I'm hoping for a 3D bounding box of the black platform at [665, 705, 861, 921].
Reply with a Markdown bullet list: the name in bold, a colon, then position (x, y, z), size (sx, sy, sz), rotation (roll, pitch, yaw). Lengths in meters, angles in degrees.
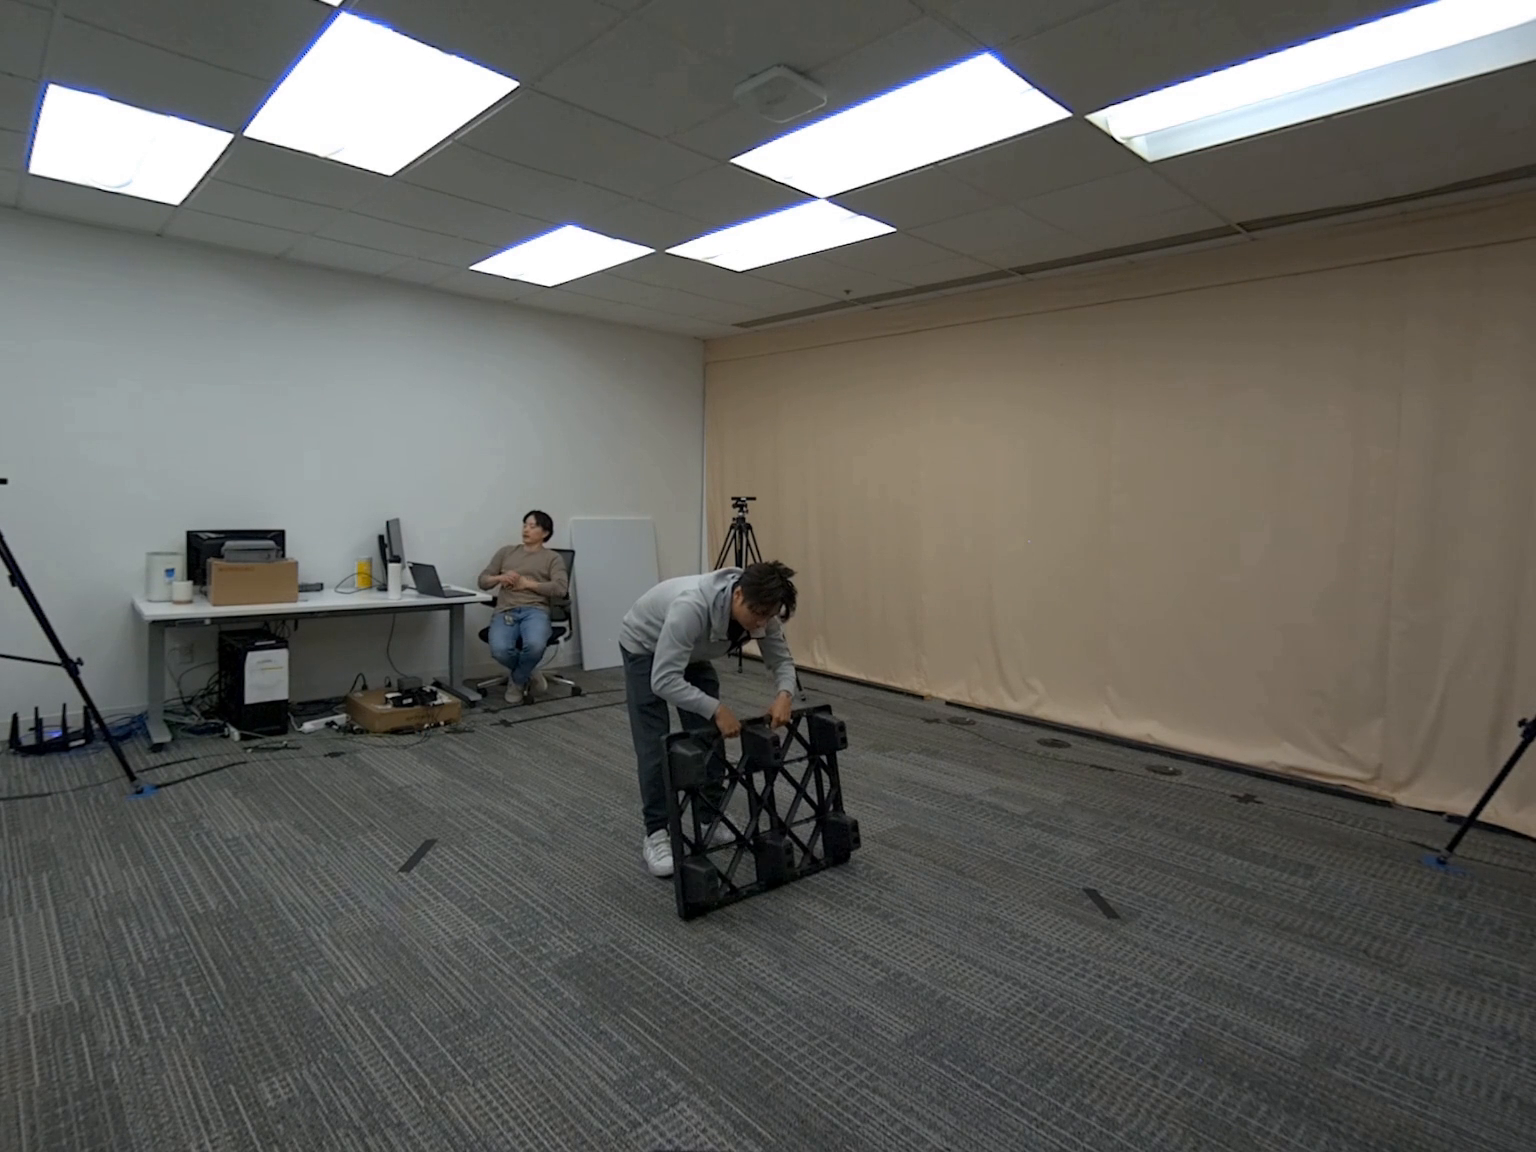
- **black platform**: position (0.001, 0.816, 3.006), size (0.788, 0.609, 0.146), rotation (-3, -8, -40)
